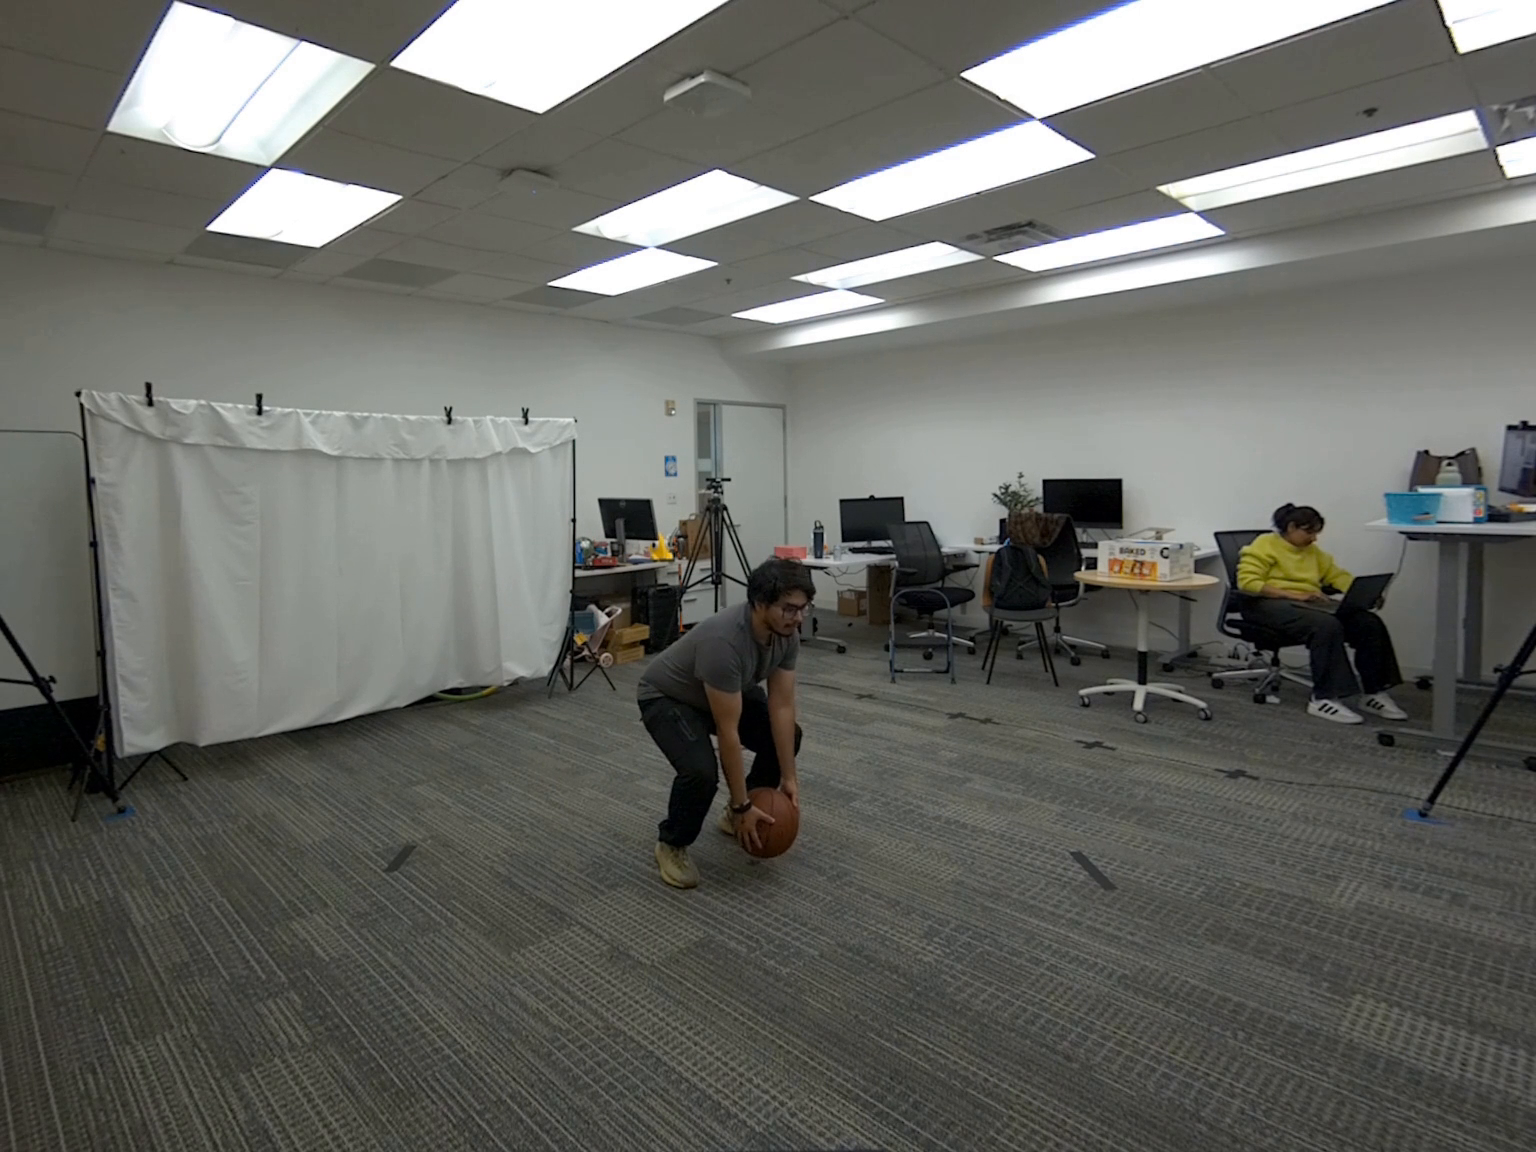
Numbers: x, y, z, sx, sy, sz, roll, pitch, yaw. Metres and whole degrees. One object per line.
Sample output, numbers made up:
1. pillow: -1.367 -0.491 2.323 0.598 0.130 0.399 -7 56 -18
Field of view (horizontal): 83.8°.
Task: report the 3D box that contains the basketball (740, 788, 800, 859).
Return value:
1. basketball: -0.004 0.864 3.014 0.236 0.235 0.237 -1 5 -2
